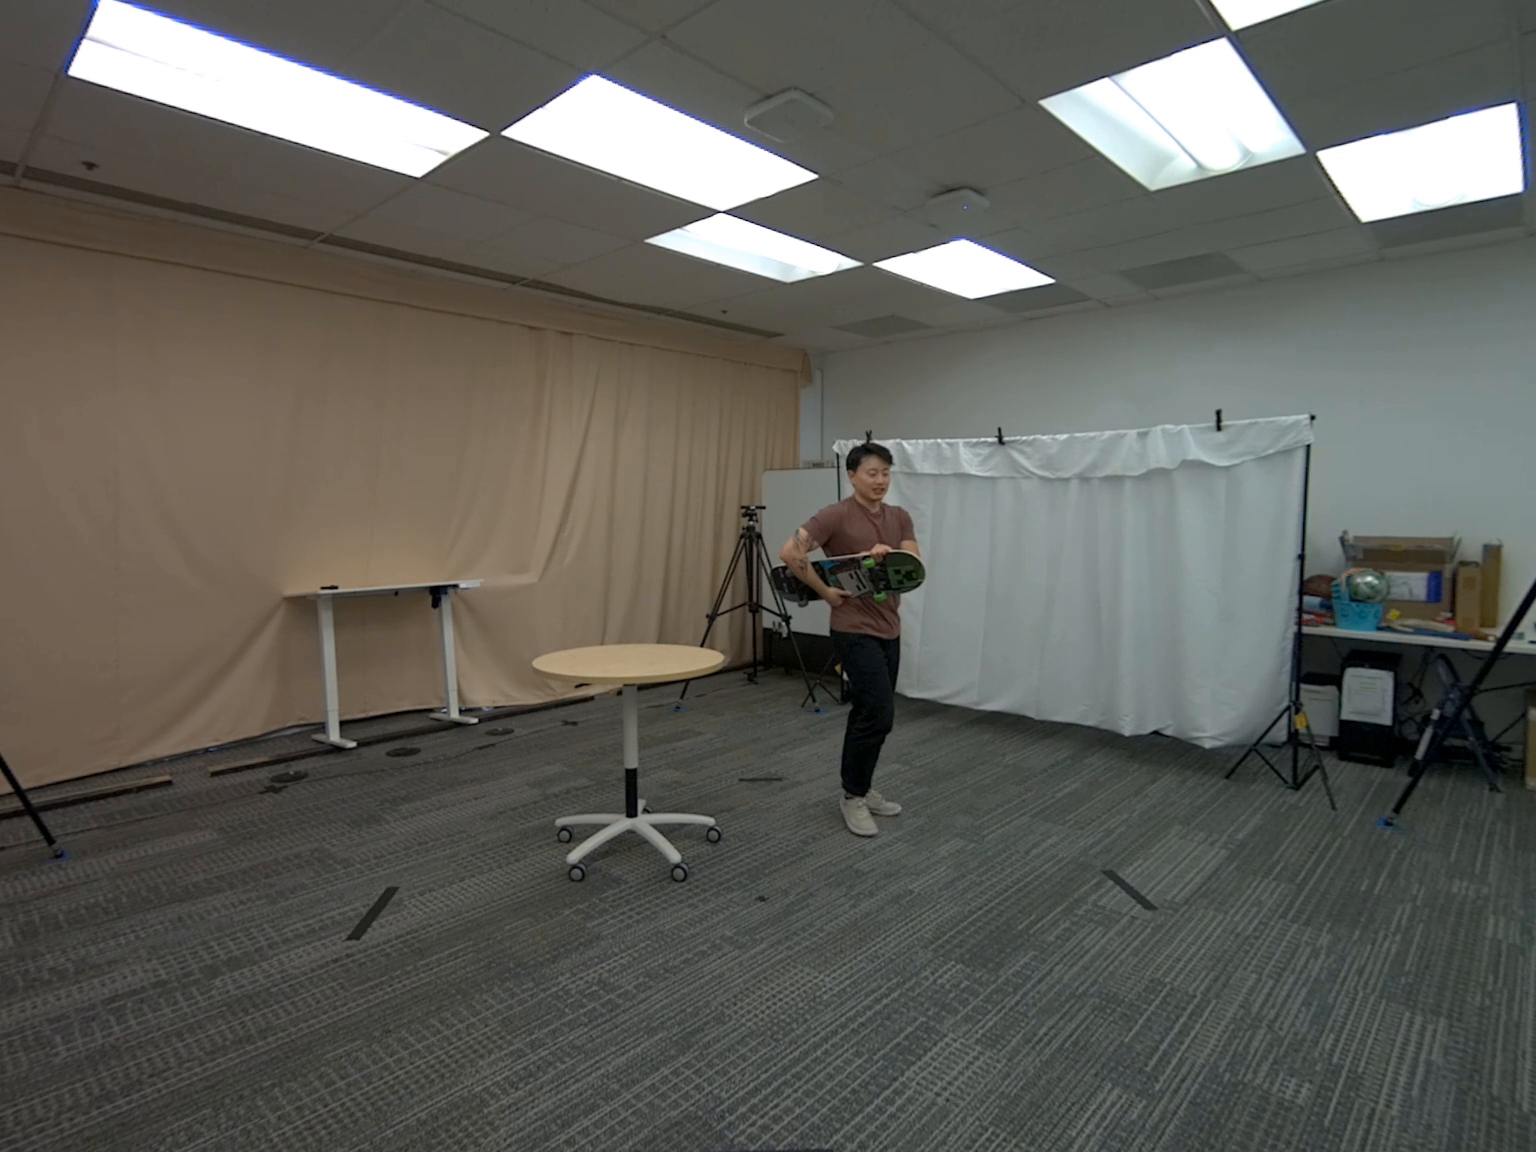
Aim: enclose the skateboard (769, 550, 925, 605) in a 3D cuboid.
[{"bbox_3d":[0.297,0.032,3.658,0.808,0.191,0.109,-7,19,39],"label":"skateboard"}]
